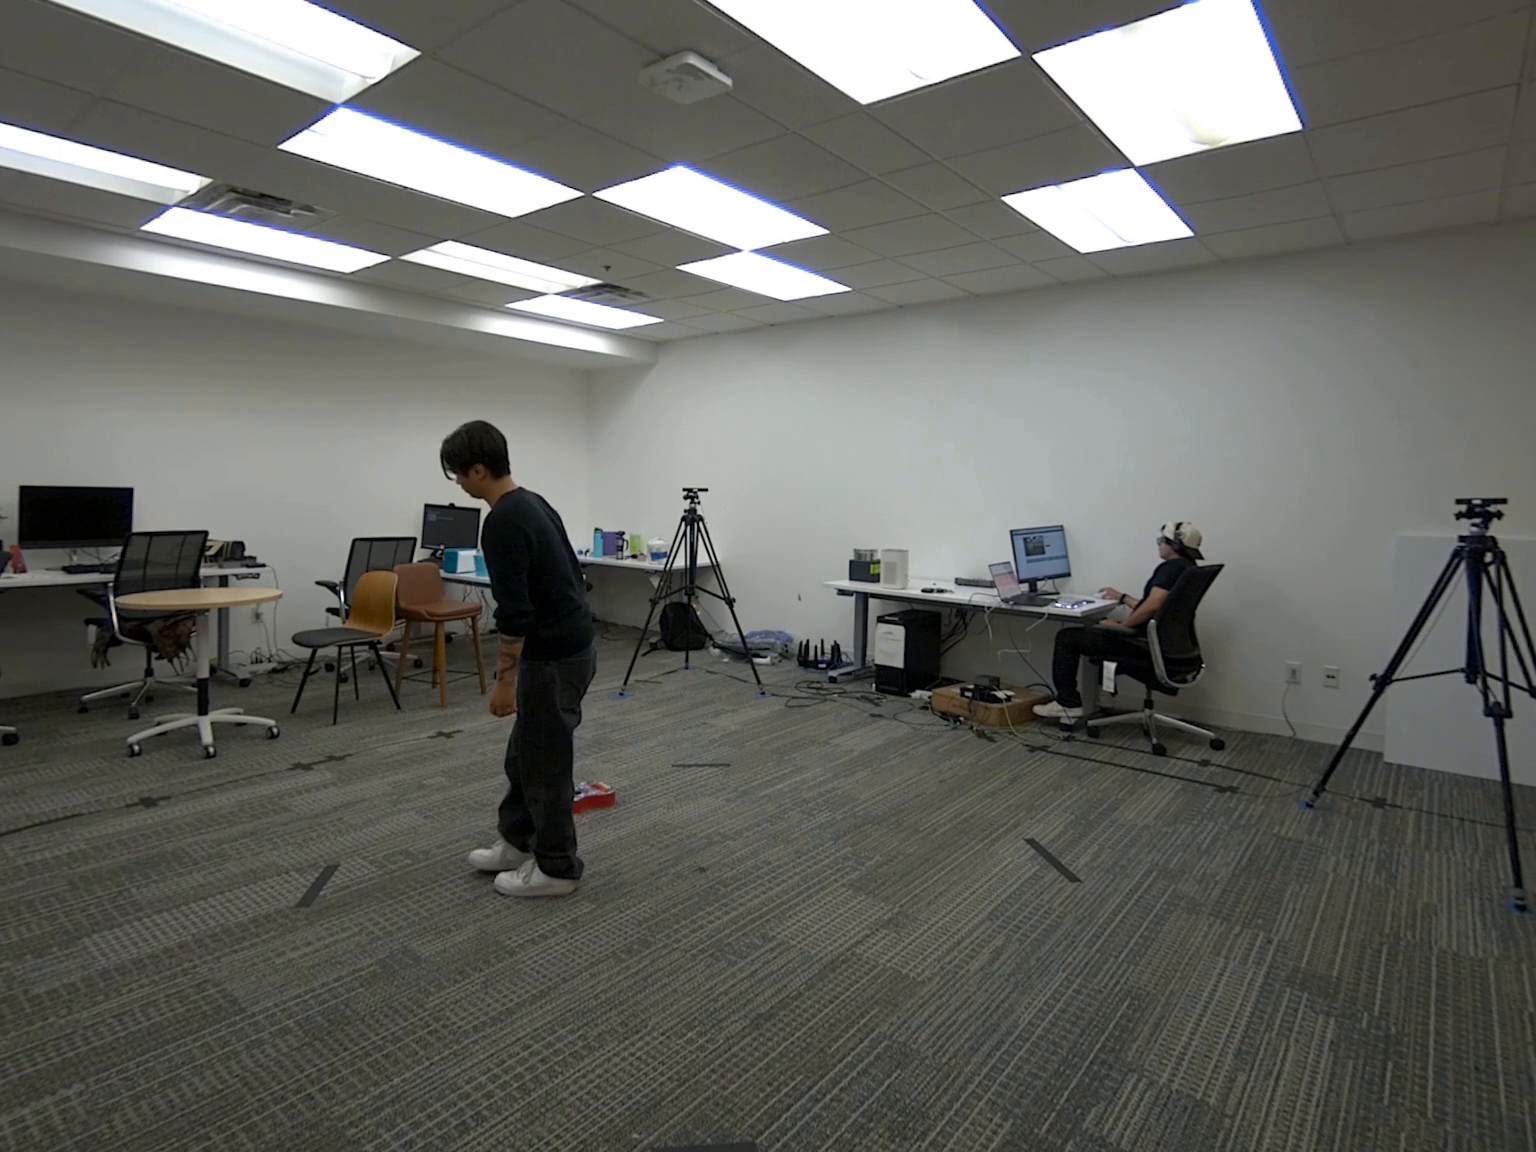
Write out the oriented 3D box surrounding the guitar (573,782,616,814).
[{"bbox_3d":[-0.917,0.972,3.678,0.483,0.070,0.199,-3,7,-37],"label":"guitar"}]
